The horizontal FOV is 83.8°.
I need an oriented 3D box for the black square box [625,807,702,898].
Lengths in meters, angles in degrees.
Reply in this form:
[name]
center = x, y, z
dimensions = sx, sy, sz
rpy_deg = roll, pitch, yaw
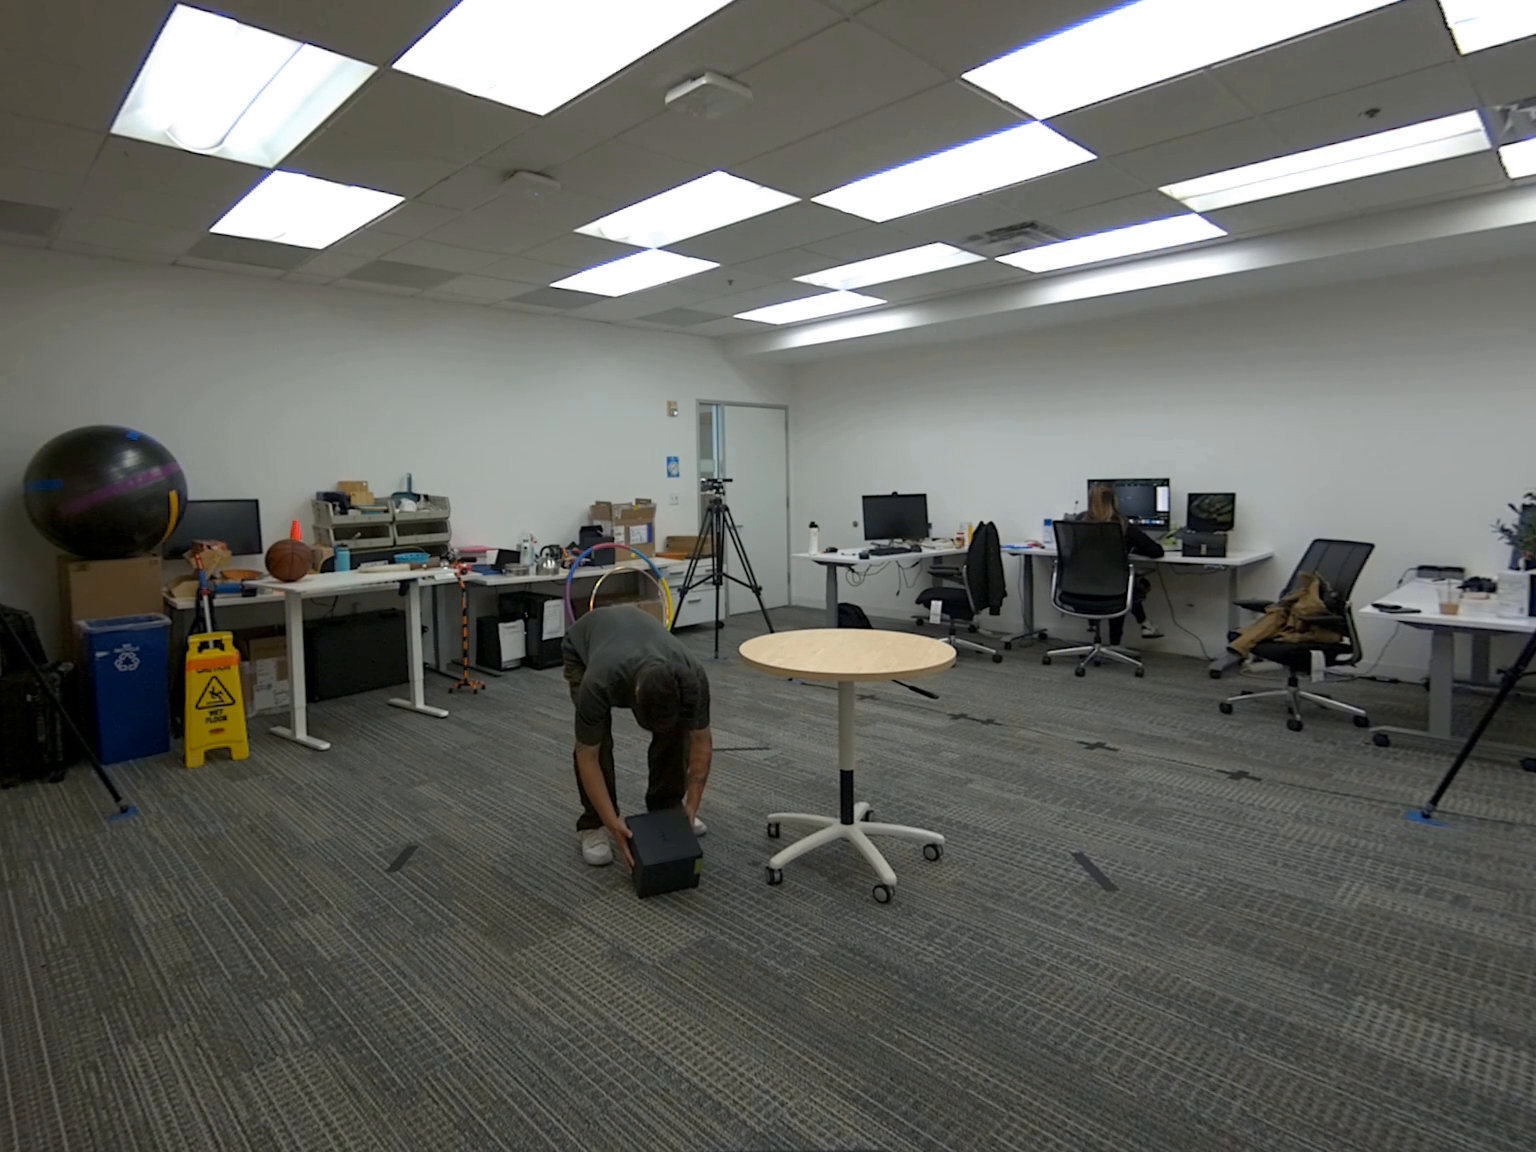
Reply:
[black square box]
center = -0.370, 0.957, 2.957
dimensions = 0.212, 0.153, 0.236
rpy_deg = -5, 28, -25
